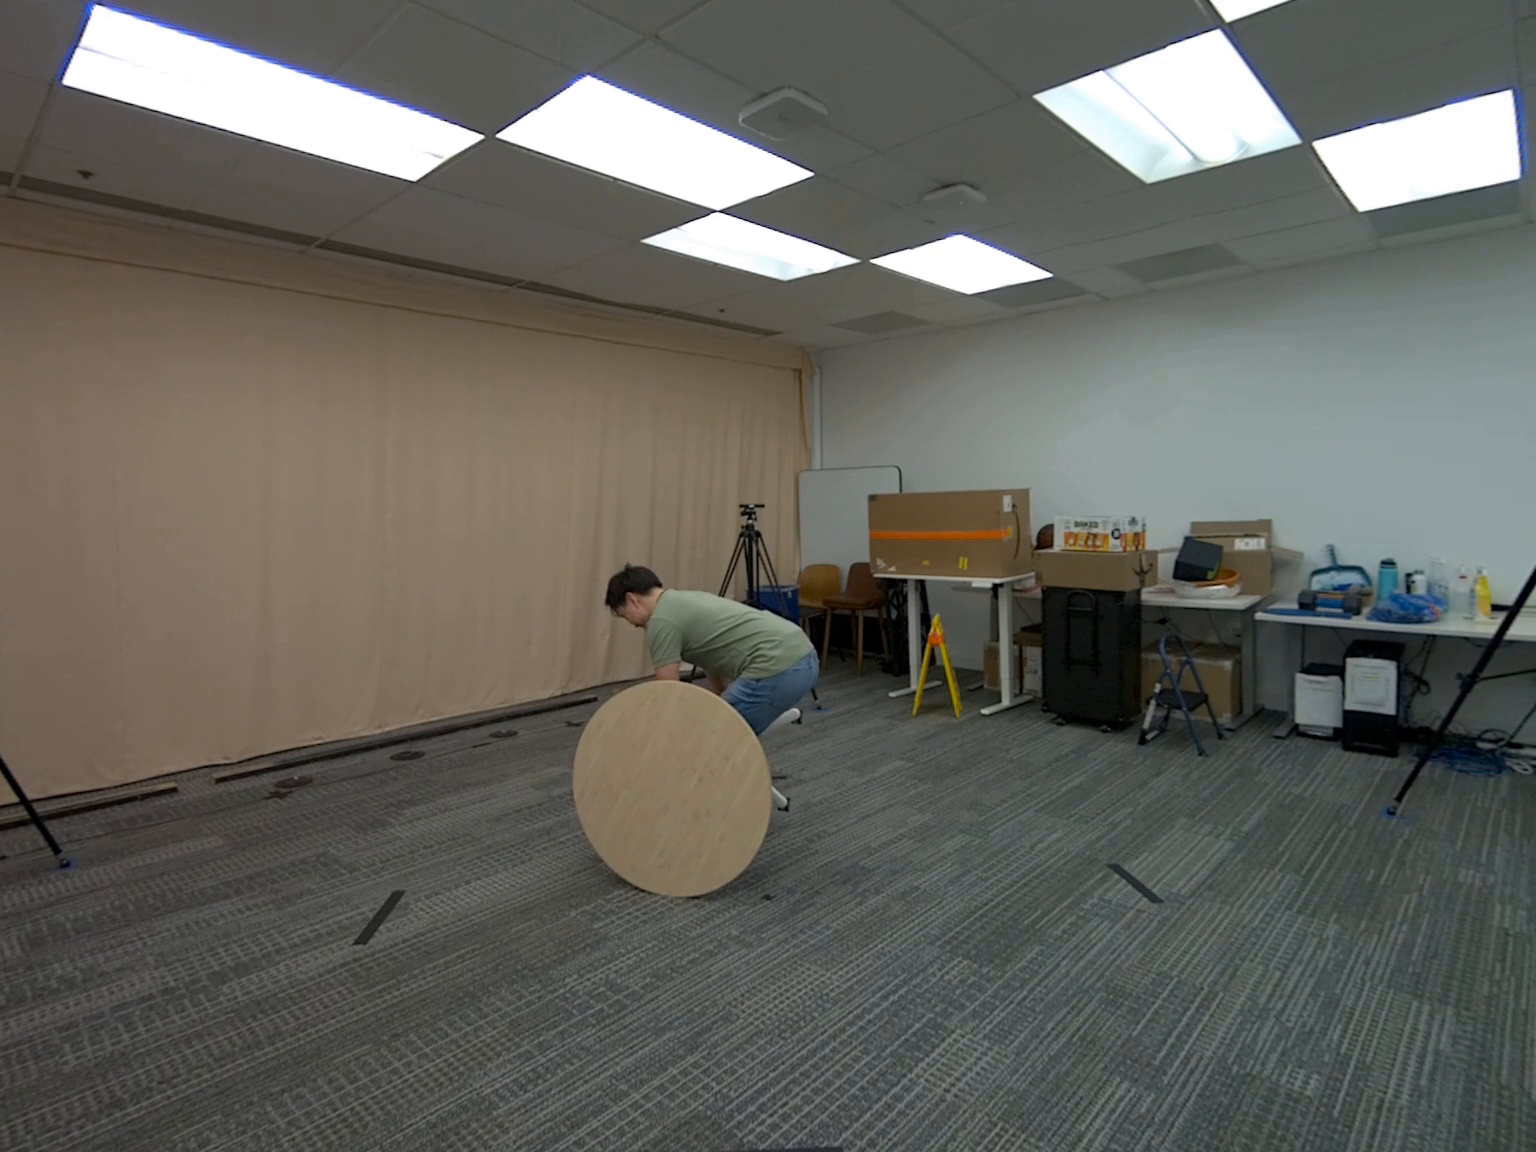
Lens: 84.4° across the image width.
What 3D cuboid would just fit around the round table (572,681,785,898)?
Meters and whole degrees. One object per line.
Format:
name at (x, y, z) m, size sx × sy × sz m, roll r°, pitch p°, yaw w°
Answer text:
round table at (-0.254, 0.752, 3.391) m, size 0.778 × 0.764 × 0.779 m, roll 0°, pitch 0°, yaw 17°
